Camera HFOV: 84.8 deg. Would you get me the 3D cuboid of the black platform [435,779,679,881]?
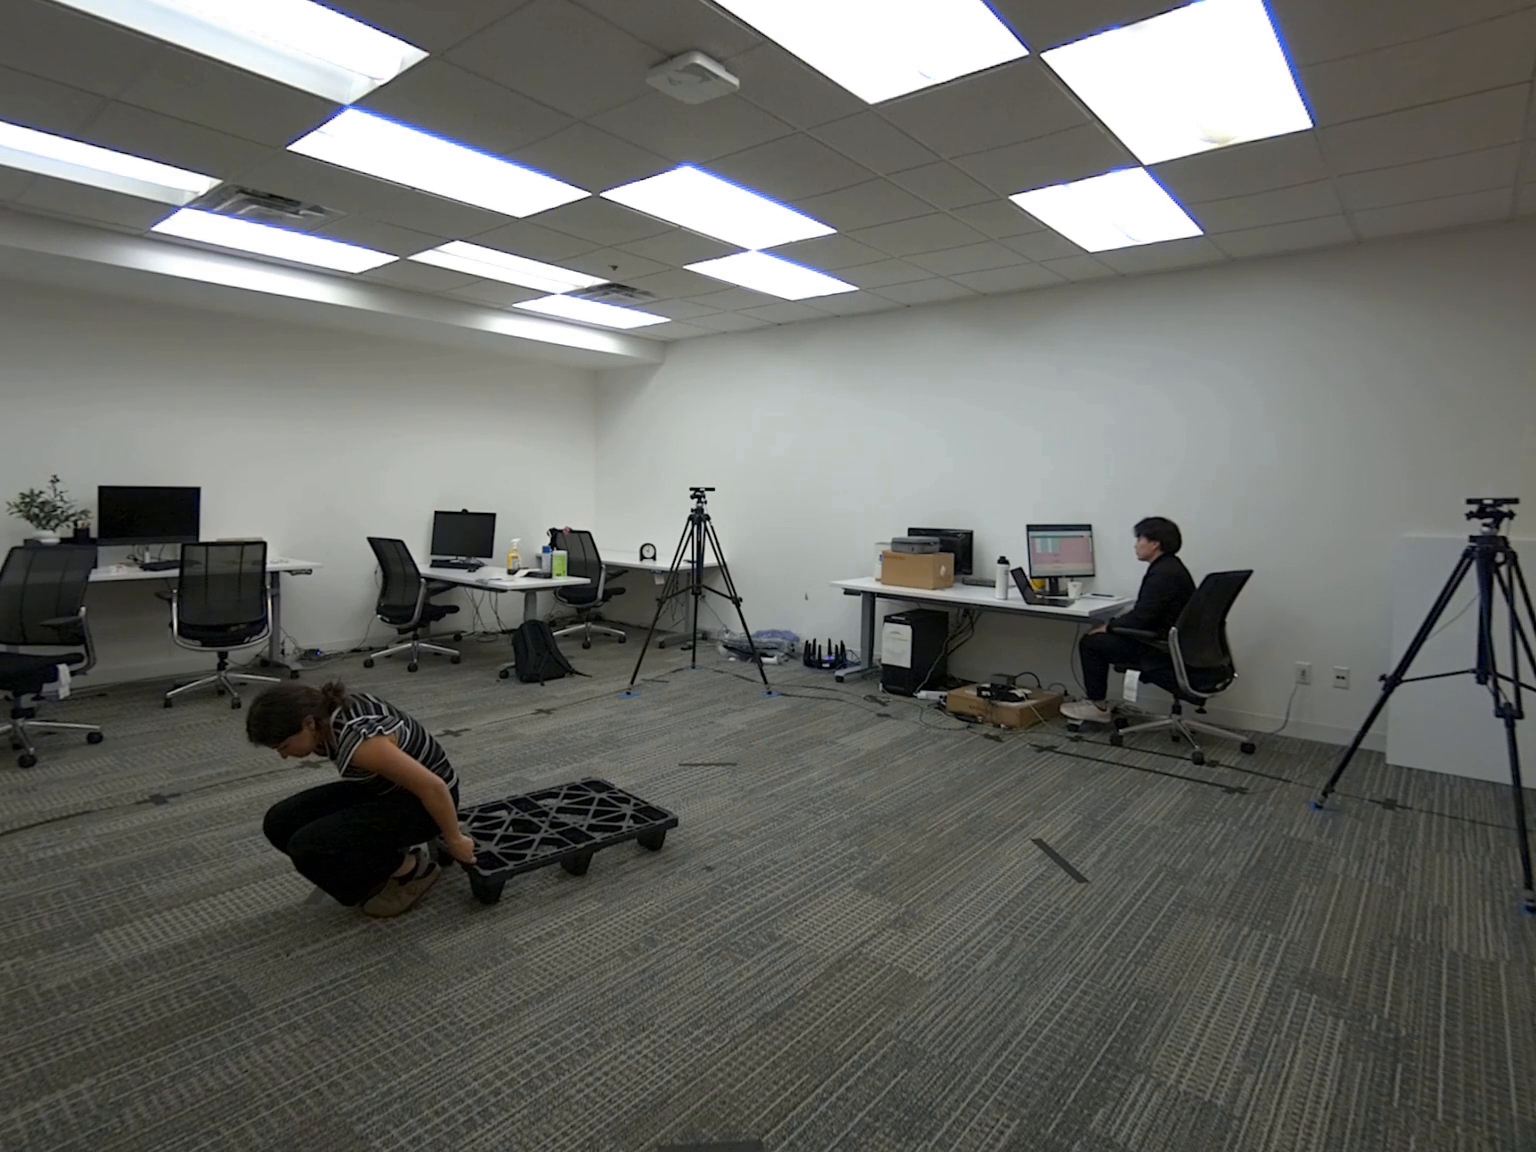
[{"bbox_3d":[-0.844,0.977,3.215,0.781,0.143,0.626,-4,7,-42],"label":"black platform"}]
